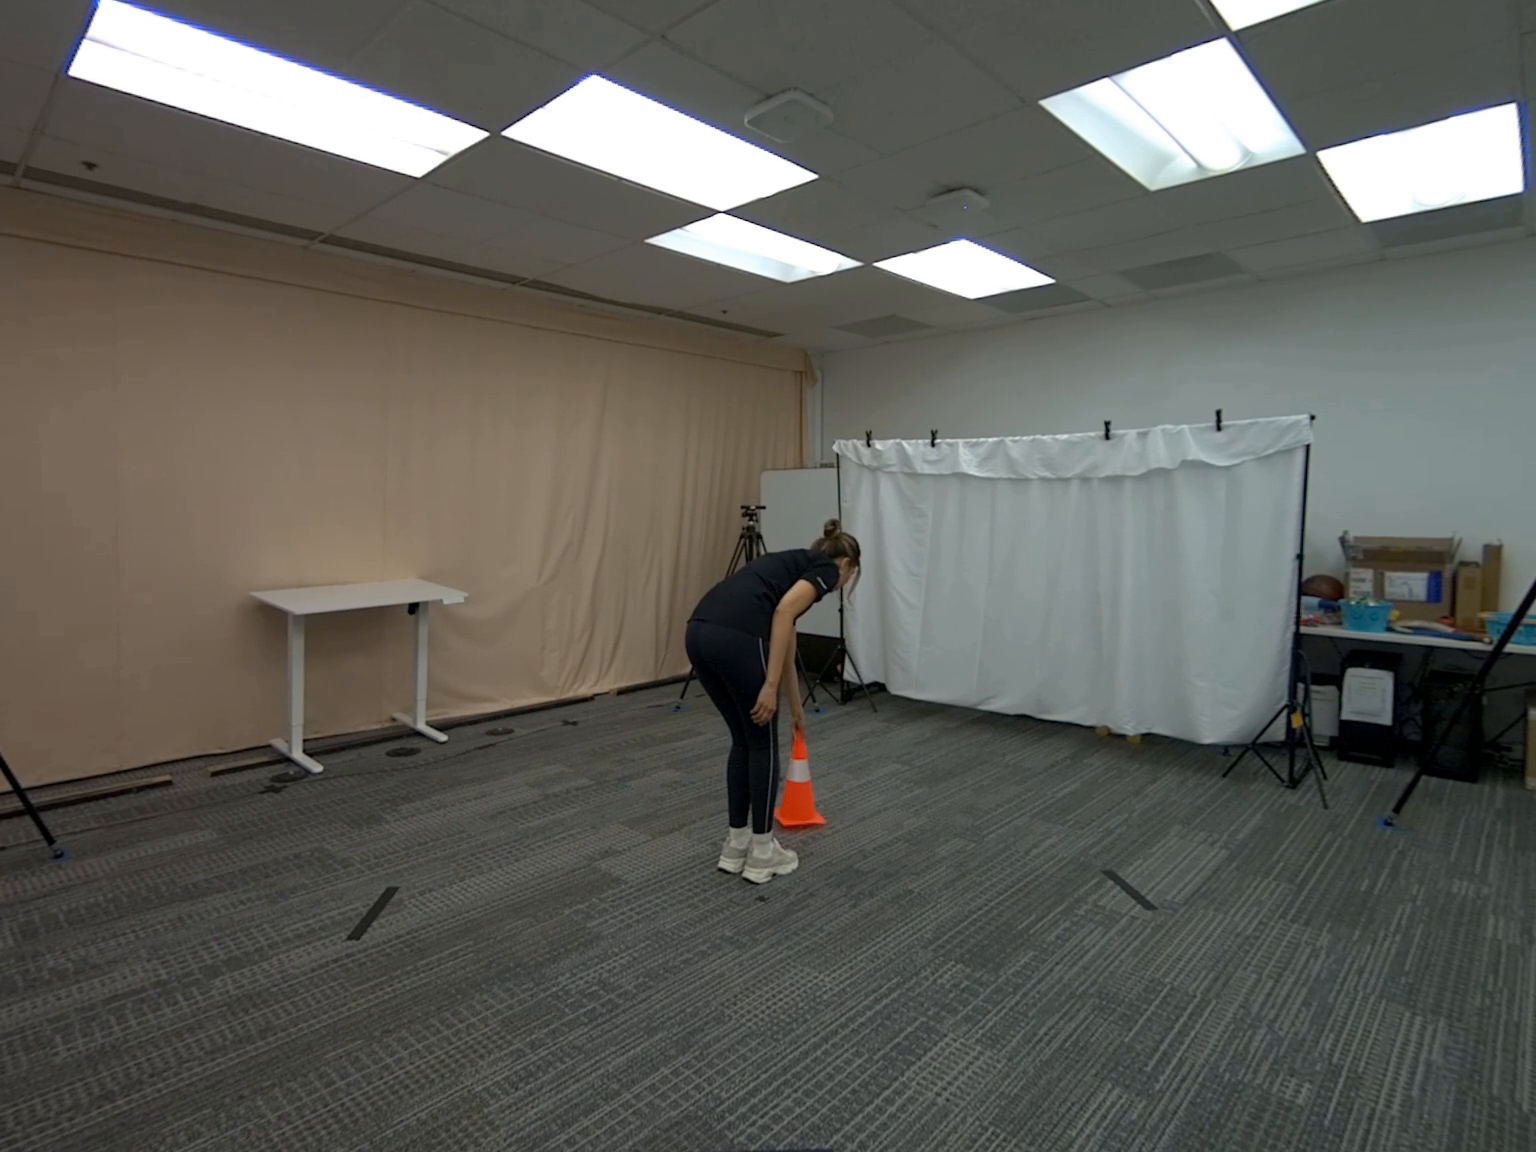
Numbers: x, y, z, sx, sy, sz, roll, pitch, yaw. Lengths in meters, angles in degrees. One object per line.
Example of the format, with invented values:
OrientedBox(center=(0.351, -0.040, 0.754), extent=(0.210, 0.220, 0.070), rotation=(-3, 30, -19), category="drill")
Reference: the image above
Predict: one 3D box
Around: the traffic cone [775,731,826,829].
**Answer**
OrientedBox(center=(0.137, 0.855, 3.692), extent=(0.199, 0.383, 0.209), rotation=(1, 3, -21), category="traffic cone")
